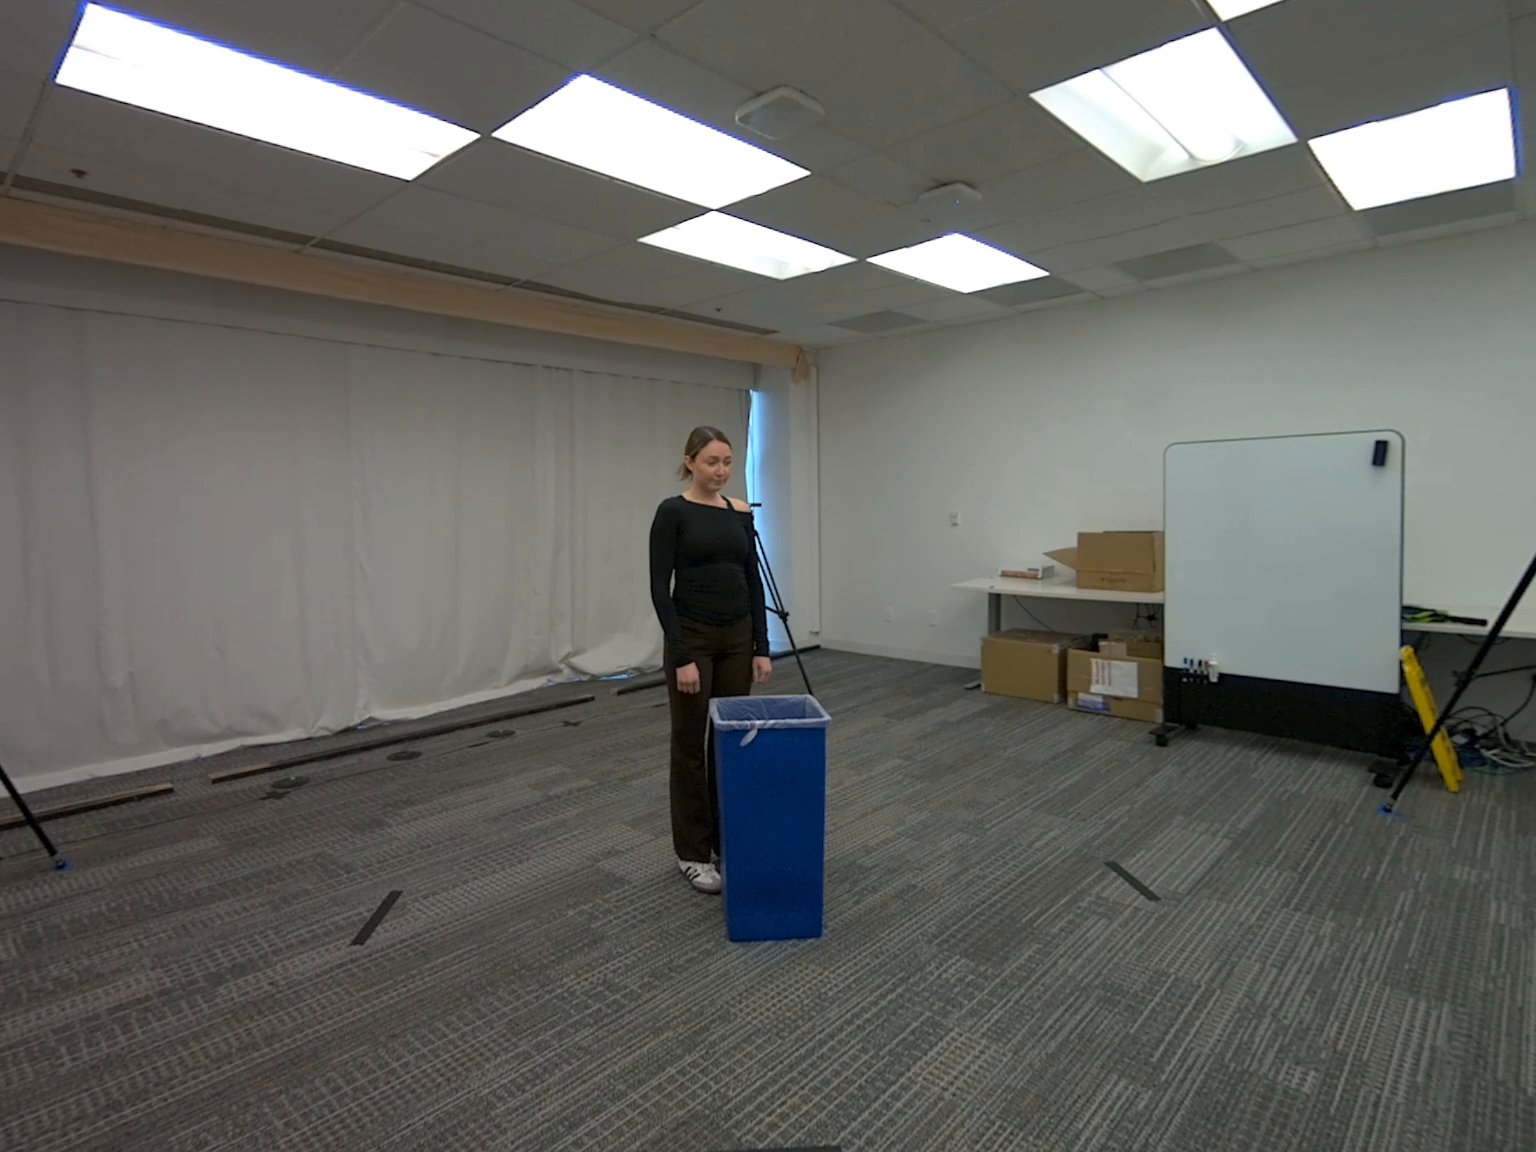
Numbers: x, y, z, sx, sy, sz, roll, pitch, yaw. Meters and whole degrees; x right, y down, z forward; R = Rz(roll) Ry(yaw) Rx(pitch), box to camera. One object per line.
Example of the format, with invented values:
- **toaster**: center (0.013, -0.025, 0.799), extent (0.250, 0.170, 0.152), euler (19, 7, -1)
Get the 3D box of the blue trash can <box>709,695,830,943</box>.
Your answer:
- **blue trash can**: center (0.004, 0.792, 2.818), extent (0.377, 0.712, 0.376), euler (-1, 3, -4)
